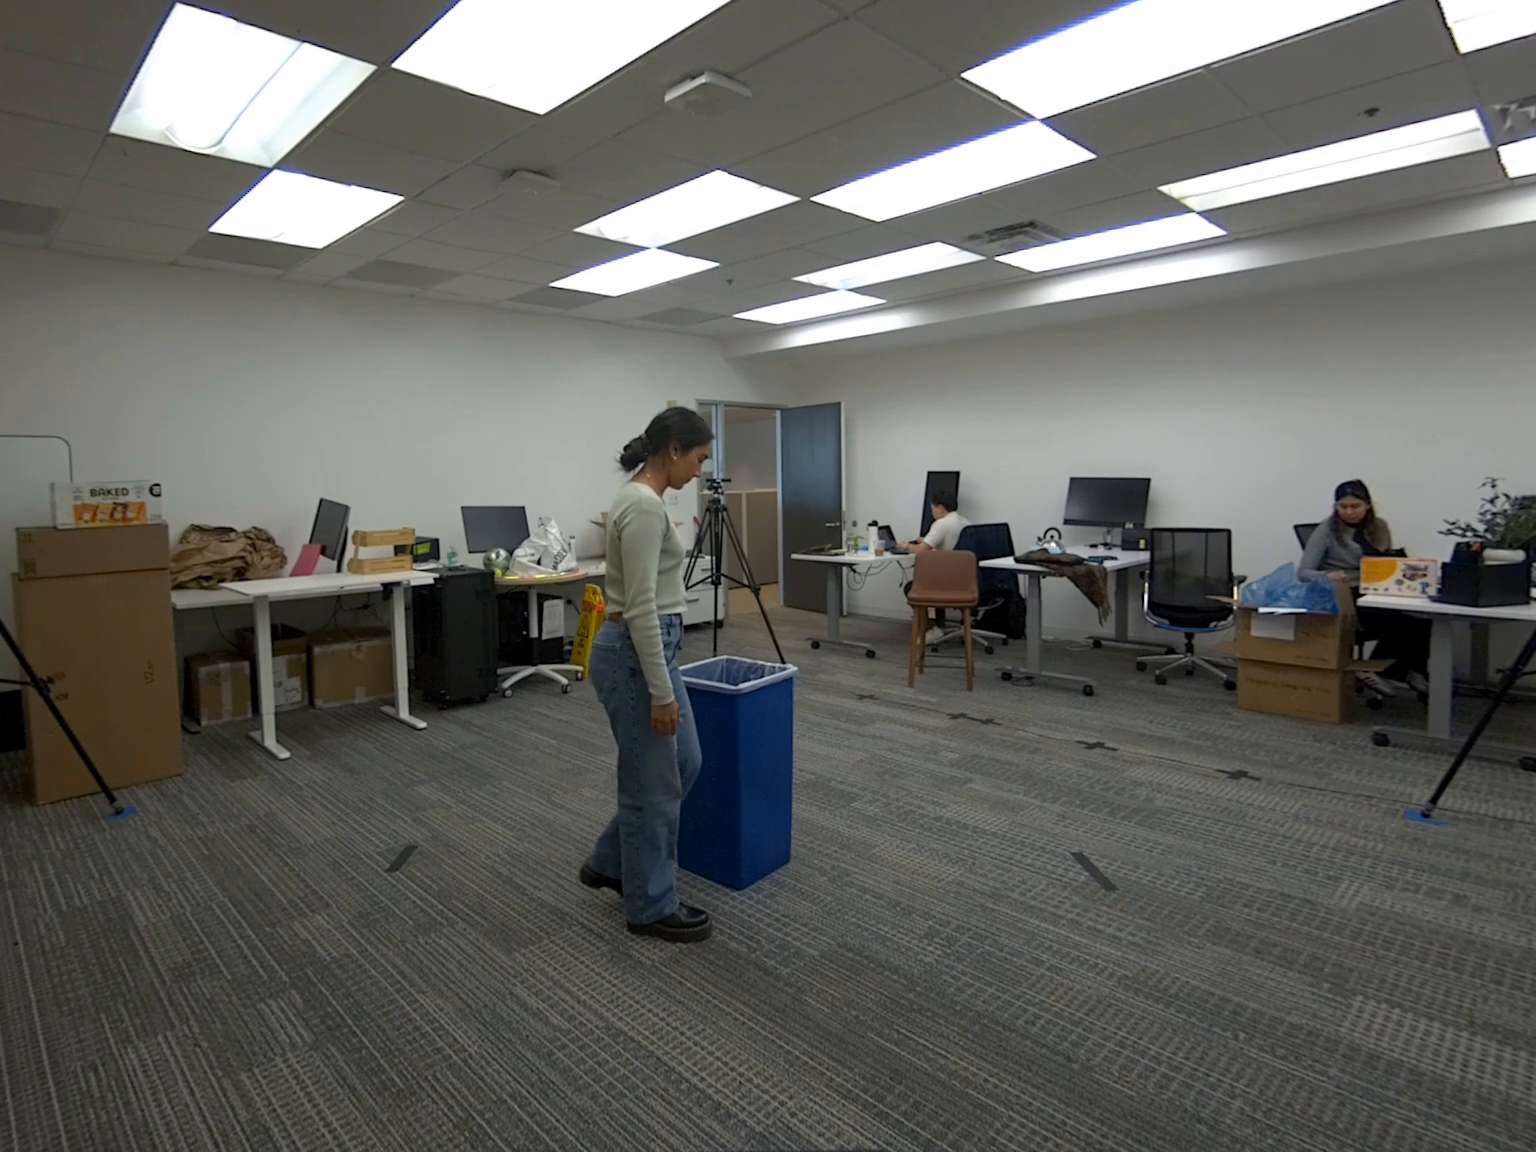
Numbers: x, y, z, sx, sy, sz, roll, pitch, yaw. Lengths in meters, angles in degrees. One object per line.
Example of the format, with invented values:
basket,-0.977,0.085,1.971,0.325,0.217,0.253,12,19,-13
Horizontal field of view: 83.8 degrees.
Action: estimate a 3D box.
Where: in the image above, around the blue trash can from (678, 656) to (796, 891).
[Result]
blue trash can,-0.126,0.690,3.072,0.389,0.711,0.364,2,5,39
